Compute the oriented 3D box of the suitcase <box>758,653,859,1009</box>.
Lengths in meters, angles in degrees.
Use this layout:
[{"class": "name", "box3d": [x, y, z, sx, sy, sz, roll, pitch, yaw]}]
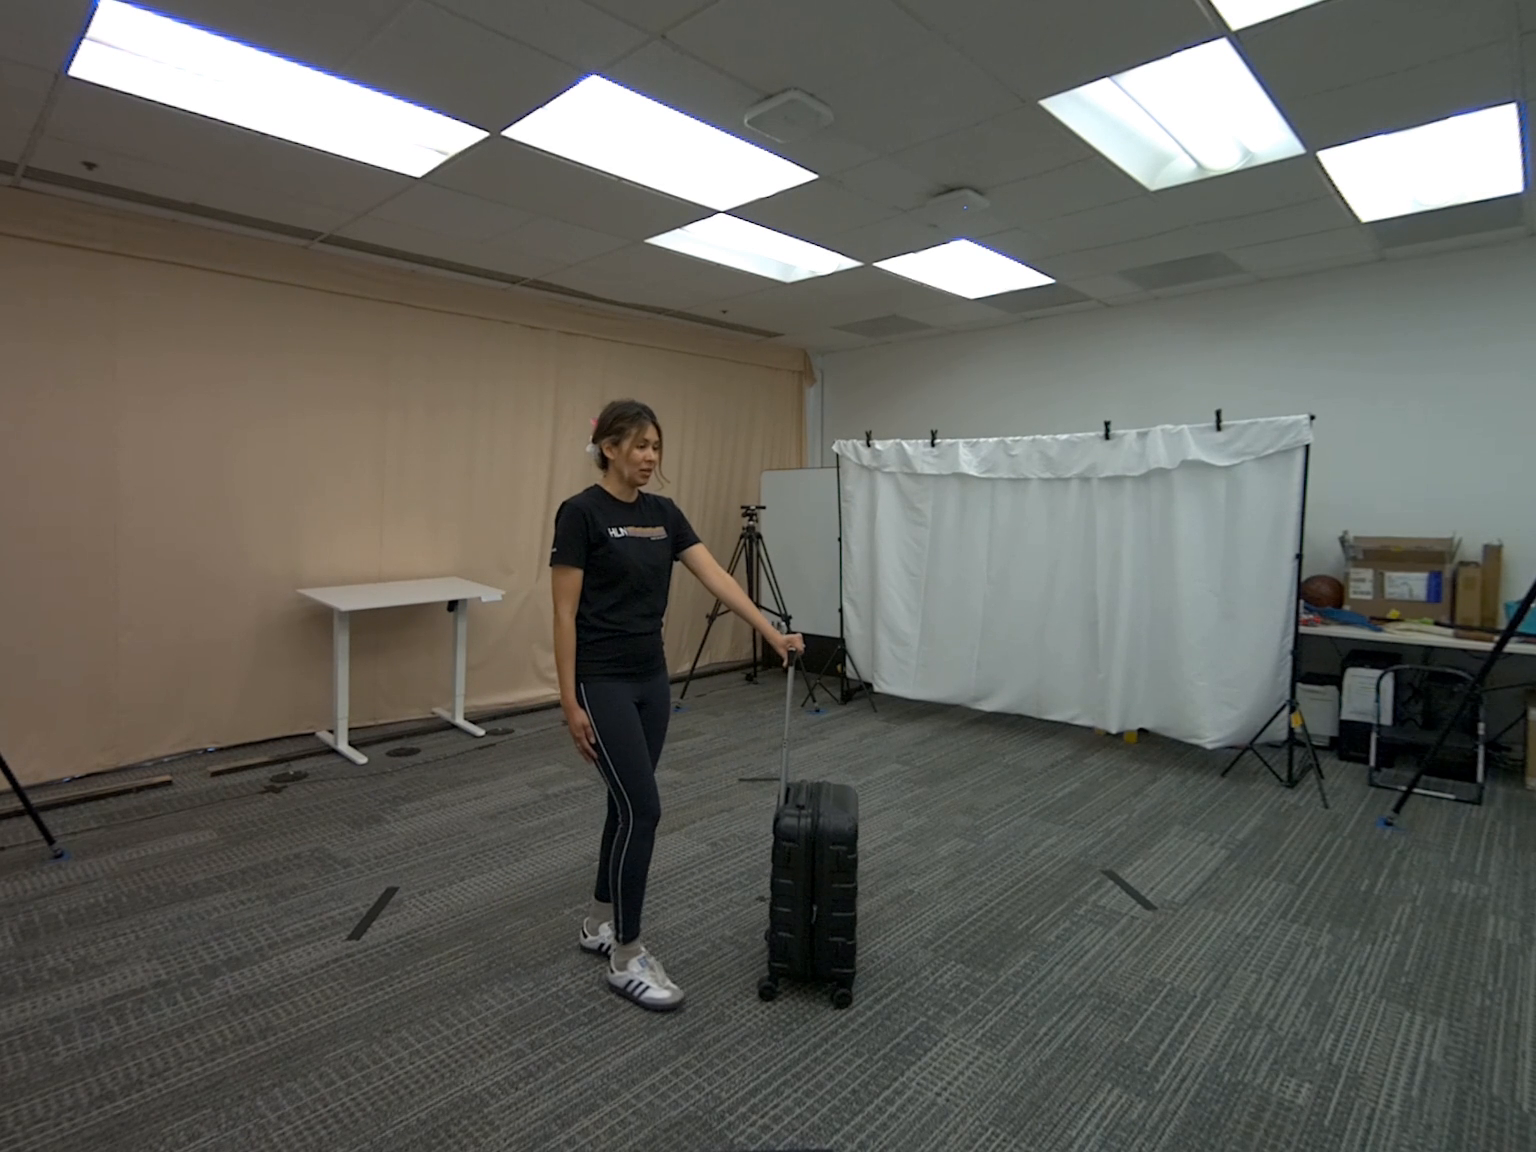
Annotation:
[{"class": "suitcase", "box3d": [0.157, 0.718, 2.483, 0.259, 0.977, 0.382, 6, 3, 4]}]
